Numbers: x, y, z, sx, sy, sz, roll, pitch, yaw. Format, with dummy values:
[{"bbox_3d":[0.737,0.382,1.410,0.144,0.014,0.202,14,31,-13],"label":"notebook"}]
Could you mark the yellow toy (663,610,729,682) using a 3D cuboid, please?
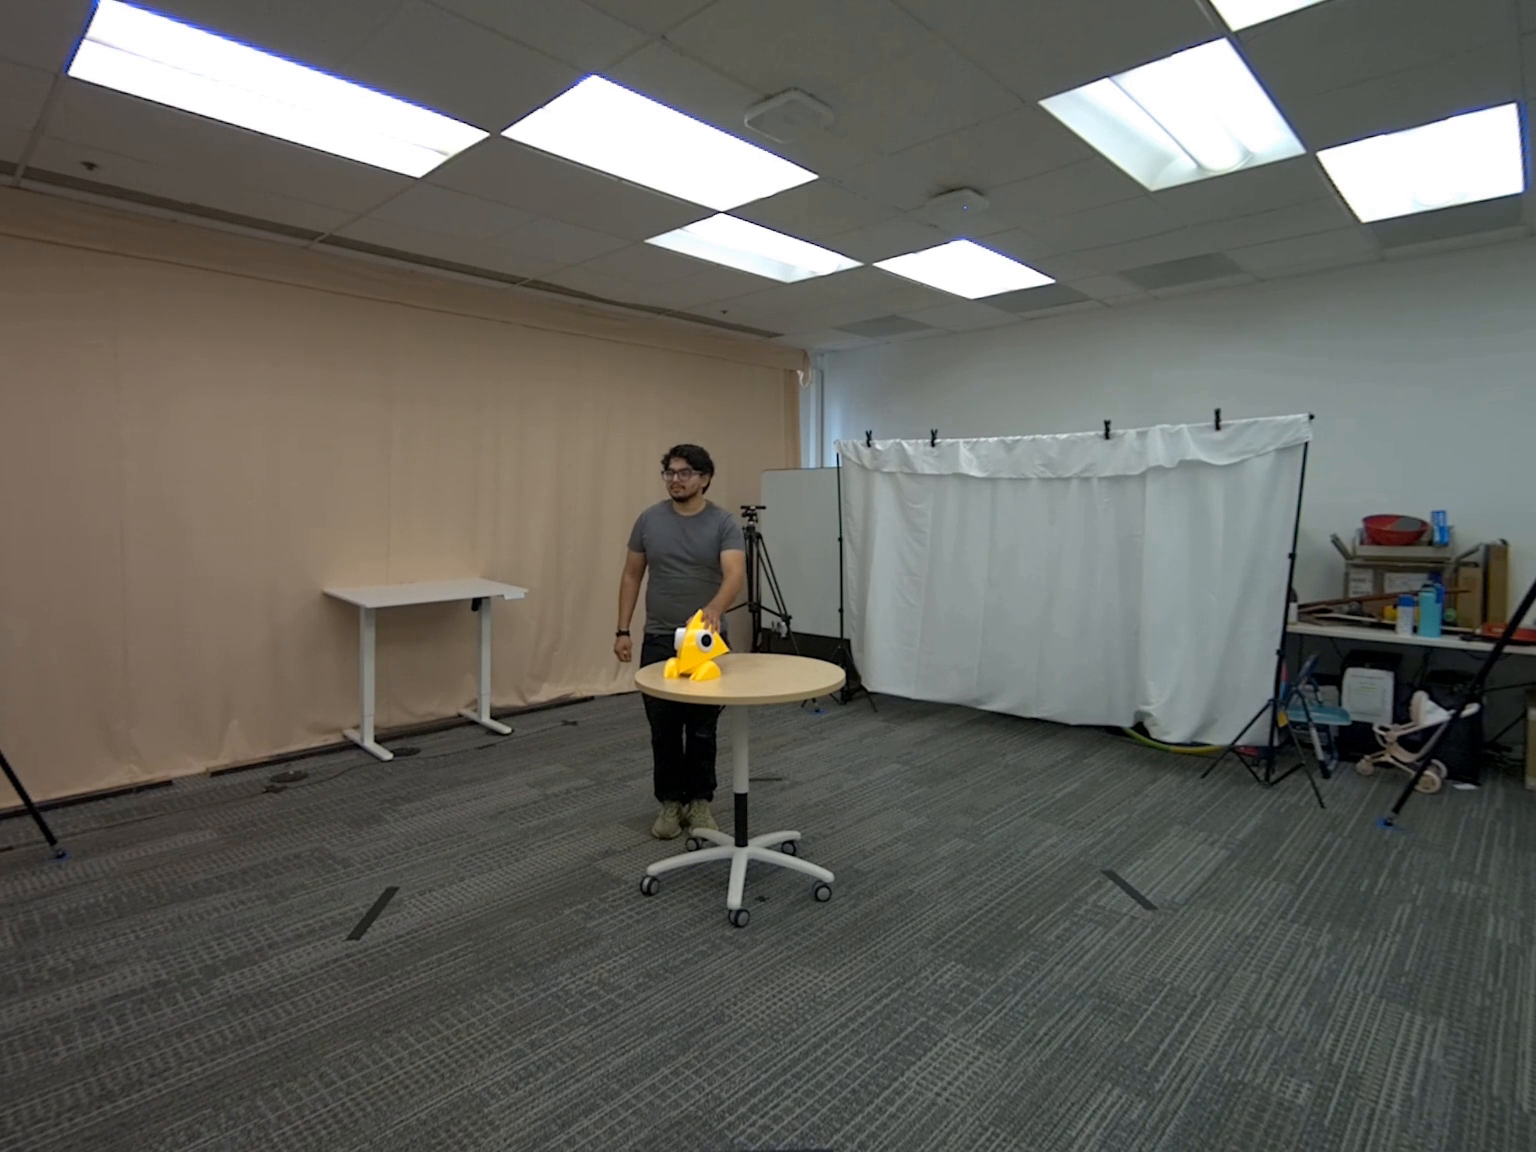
[{"bbox_3d":[-0.266,0.243,3.049,0.210,0.230,0.188,1,4,26],"label":"yellow toy"}]
